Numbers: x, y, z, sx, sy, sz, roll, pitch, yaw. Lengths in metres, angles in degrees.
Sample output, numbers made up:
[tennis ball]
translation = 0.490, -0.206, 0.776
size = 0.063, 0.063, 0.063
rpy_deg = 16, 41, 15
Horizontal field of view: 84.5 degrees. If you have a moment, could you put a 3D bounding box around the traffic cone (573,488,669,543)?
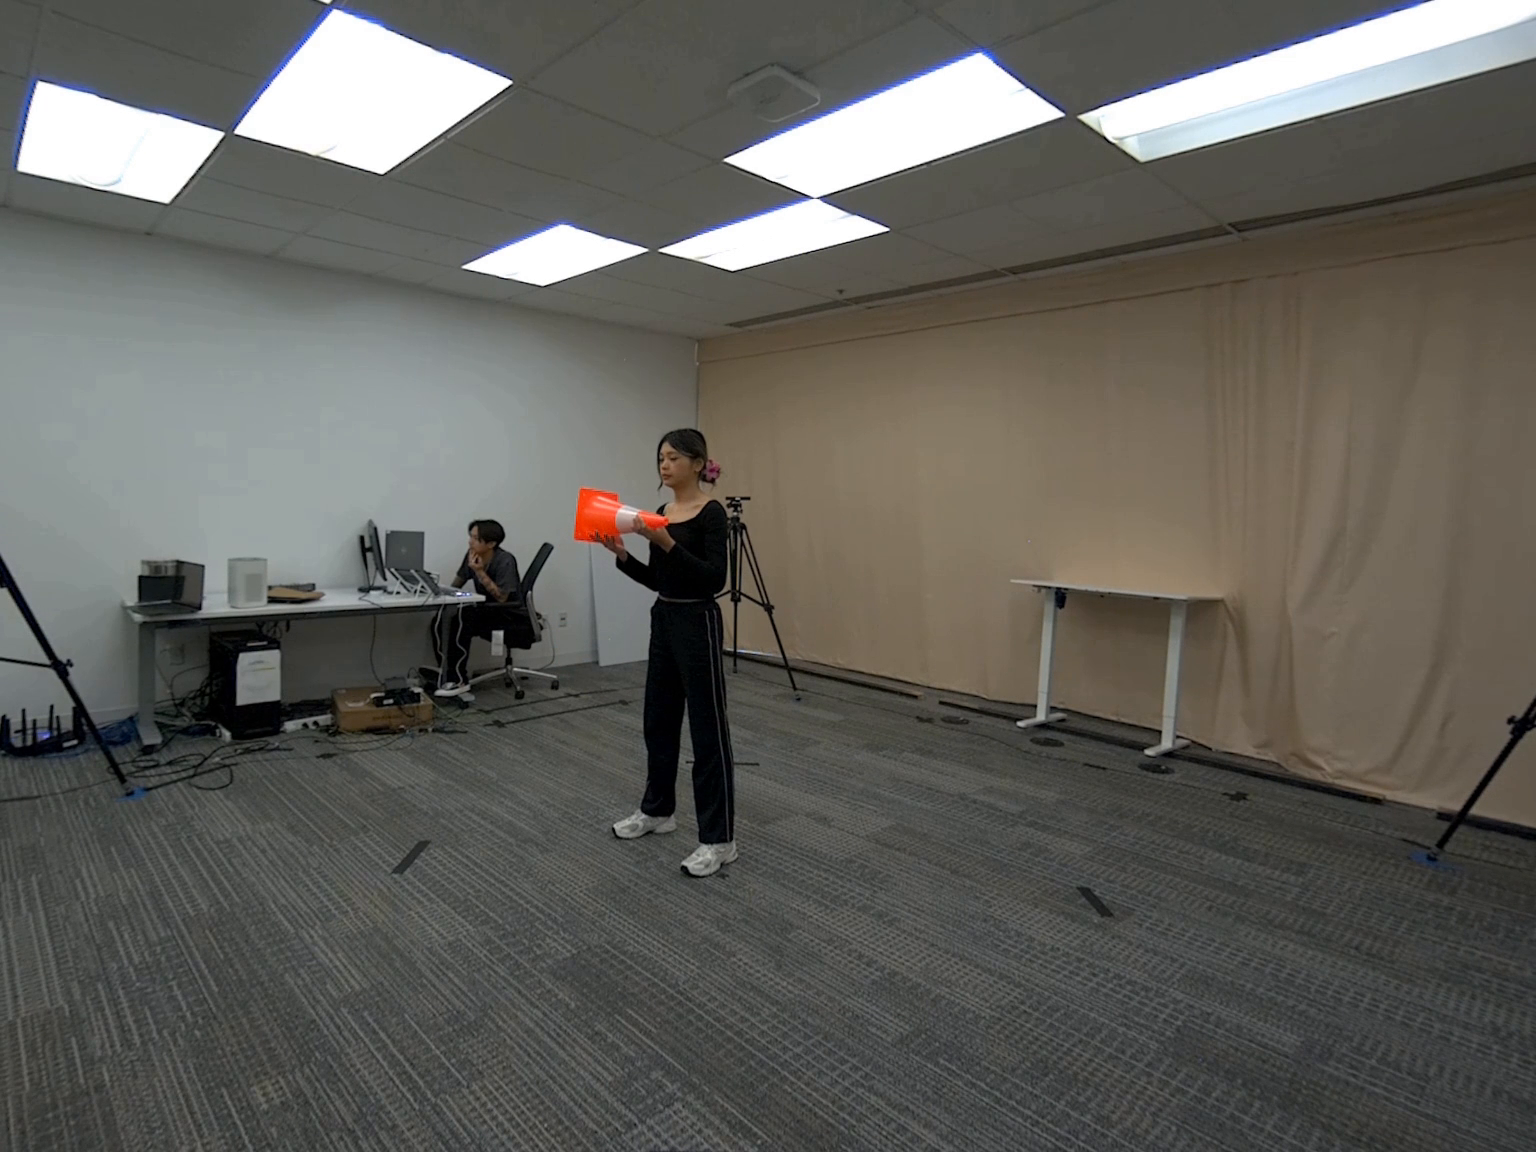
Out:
[traffic cone]
translation = -0.511, -0.207, 3.069
size = 0.393, 0.205, 0.198
rpy_deg = 7, -1, 39
